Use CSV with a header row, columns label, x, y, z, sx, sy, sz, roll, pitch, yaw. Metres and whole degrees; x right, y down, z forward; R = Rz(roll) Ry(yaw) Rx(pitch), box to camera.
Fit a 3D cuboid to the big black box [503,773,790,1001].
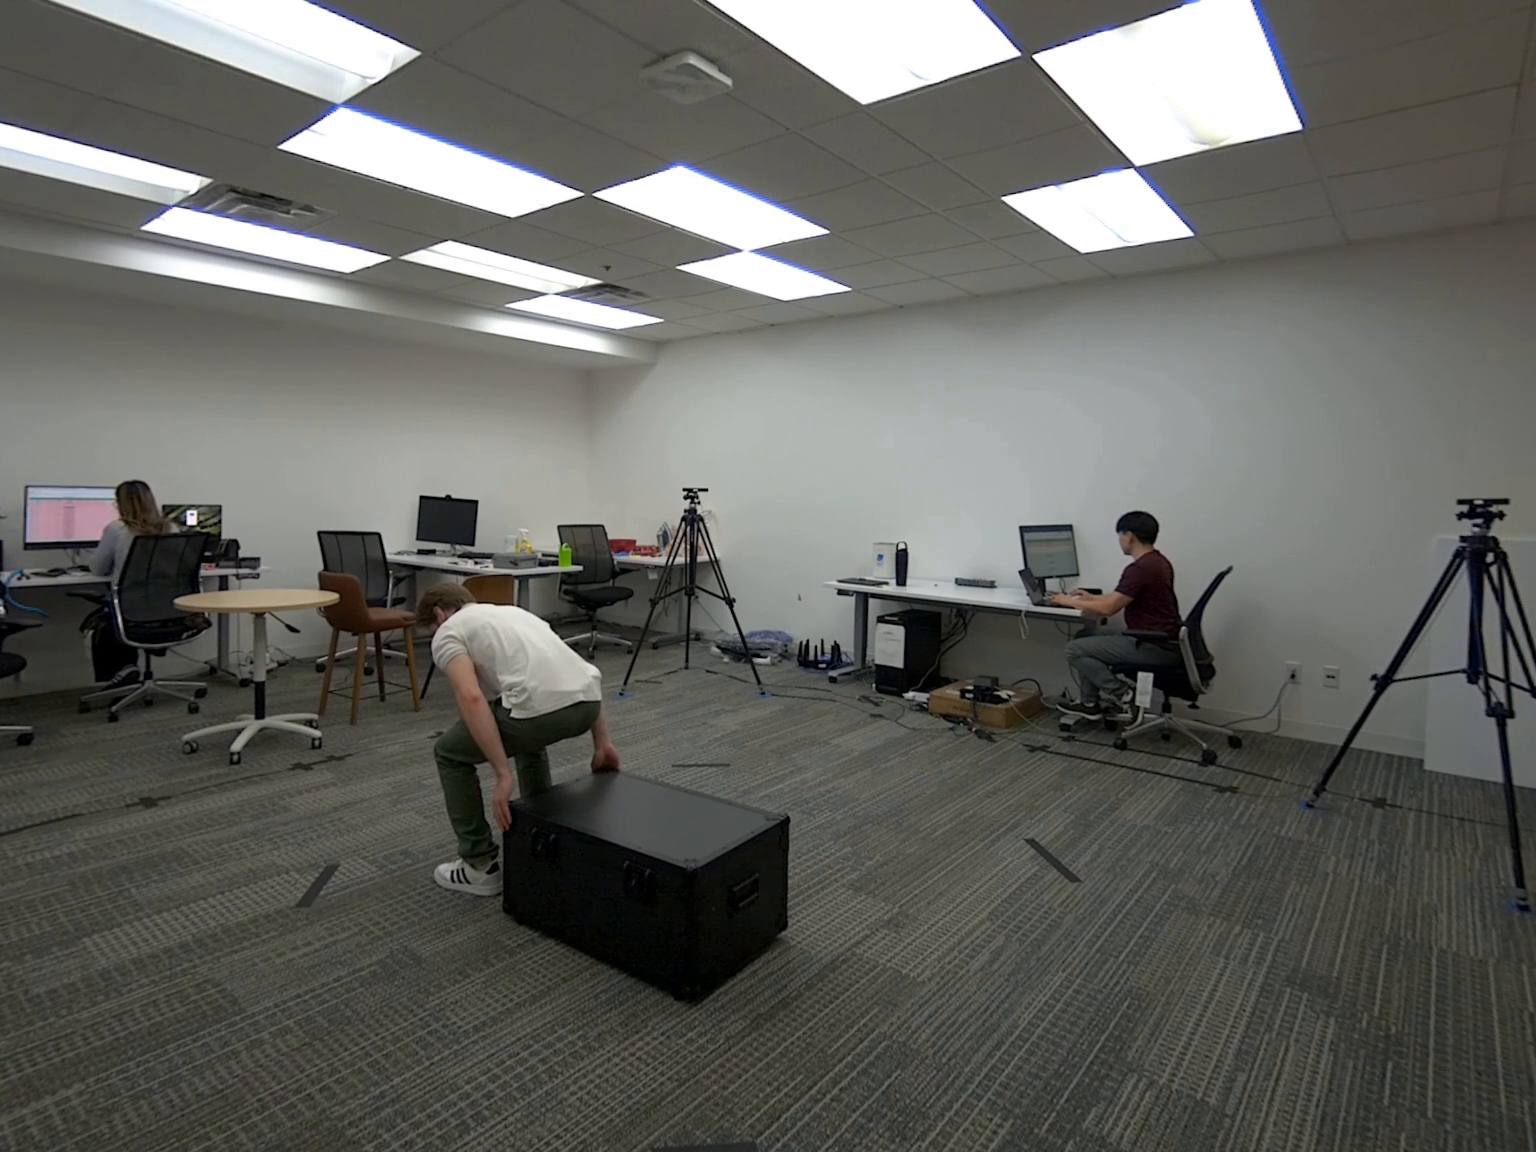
label,x,y,z,sx,sy,sz,roll,pitch,yaw
big black box,-0.425,0.911,2.701,0.896,0.384,0.509,4,6,35
